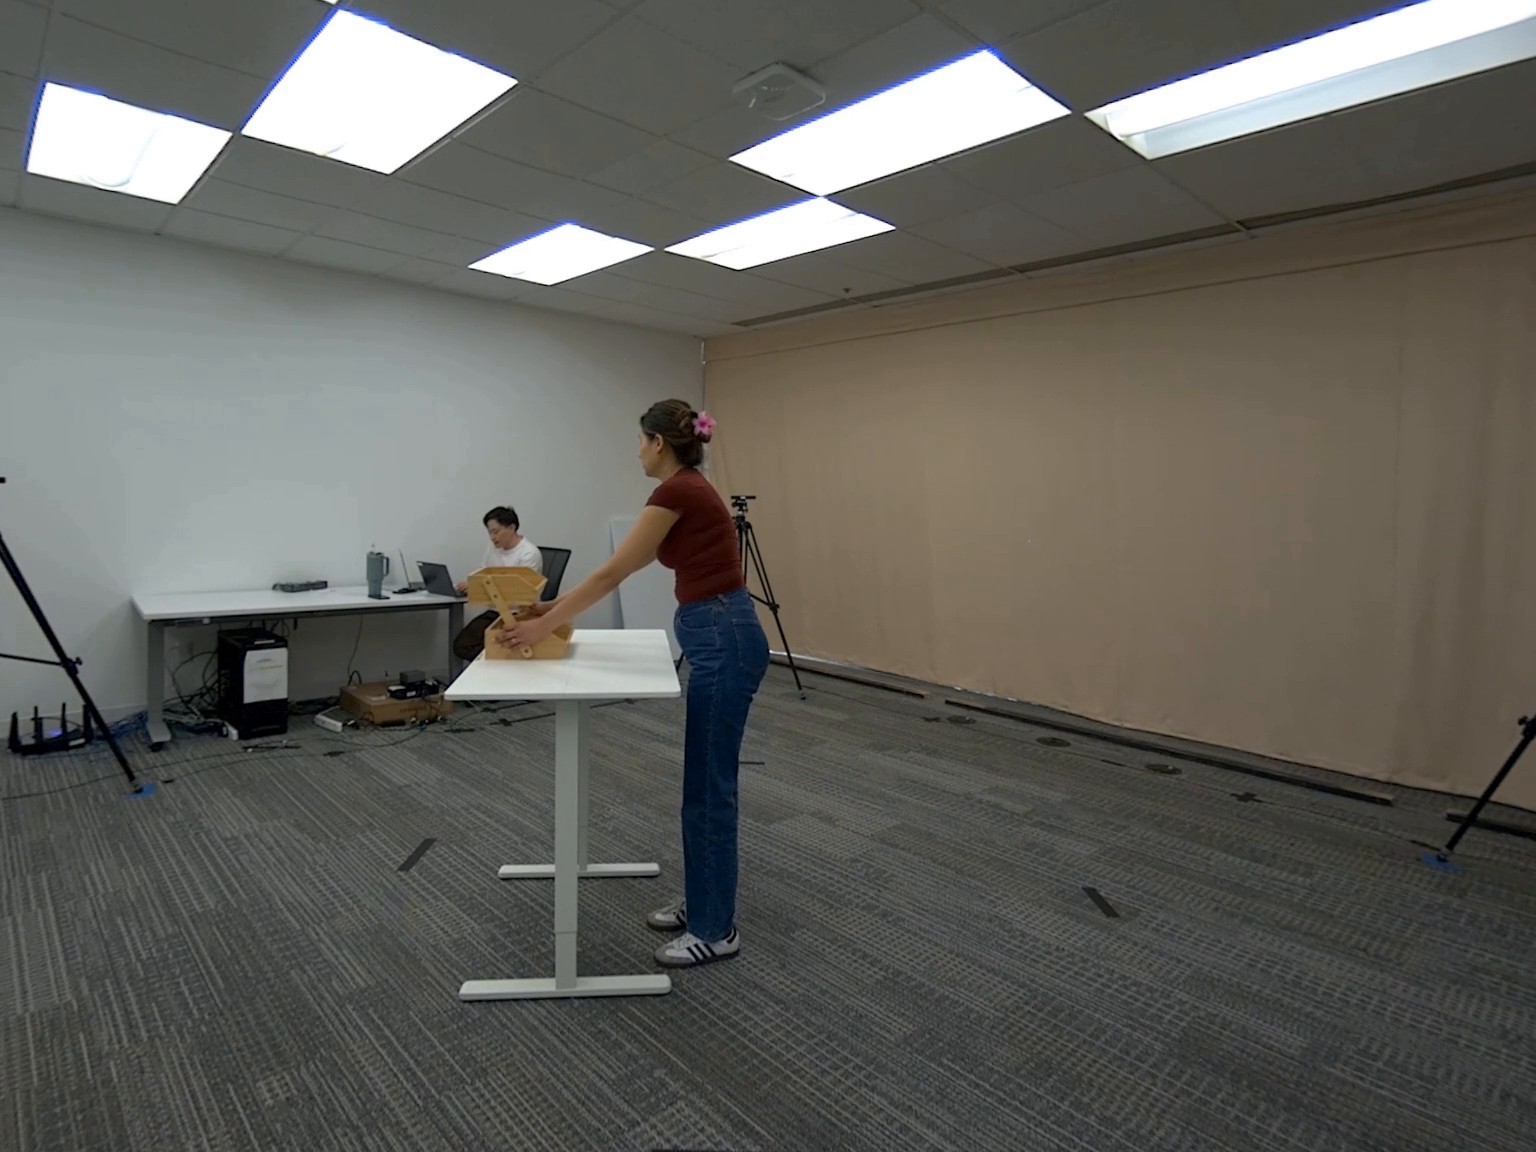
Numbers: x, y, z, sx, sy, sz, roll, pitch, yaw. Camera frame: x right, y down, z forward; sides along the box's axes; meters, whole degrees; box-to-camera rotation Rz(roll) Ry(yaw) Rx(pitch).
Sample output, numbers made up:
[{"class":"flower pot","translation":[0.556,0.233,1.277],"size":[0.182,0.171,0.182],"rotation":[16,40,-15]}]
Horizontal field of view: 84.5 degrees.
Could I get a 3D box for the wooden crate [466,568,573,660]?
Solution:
[{"class":"wooden crate","translation":[-0.786,0.111,2.721],"size":[0.300,0.272,0.327],"rotation":[-1,5,-9]}]
